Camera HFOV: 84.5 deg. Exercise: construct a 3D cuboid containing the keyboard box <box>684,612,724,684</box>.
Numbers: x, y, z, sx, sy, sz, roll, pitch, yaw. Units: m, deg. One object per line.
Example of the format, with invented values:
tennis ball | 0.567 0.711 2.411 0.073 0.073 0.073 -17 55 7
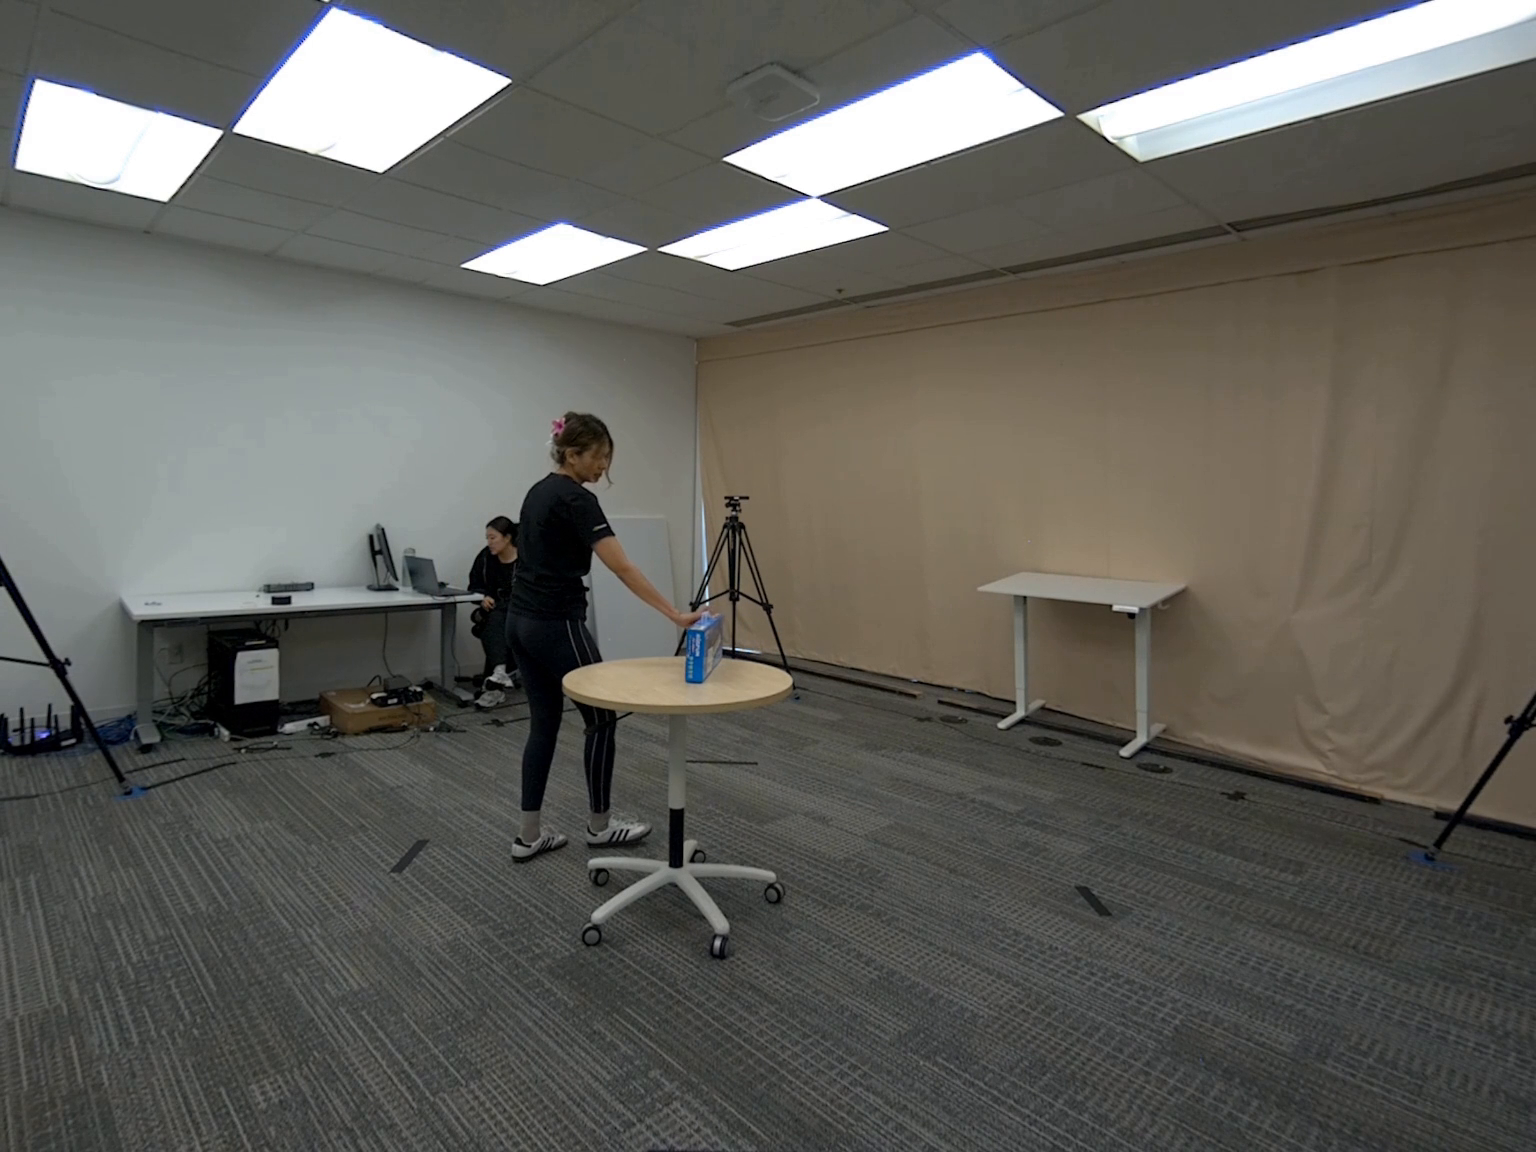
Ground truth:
keyboard box | -0.225 0.241 2.939 0.059 0.175 0.436 3 4 3
